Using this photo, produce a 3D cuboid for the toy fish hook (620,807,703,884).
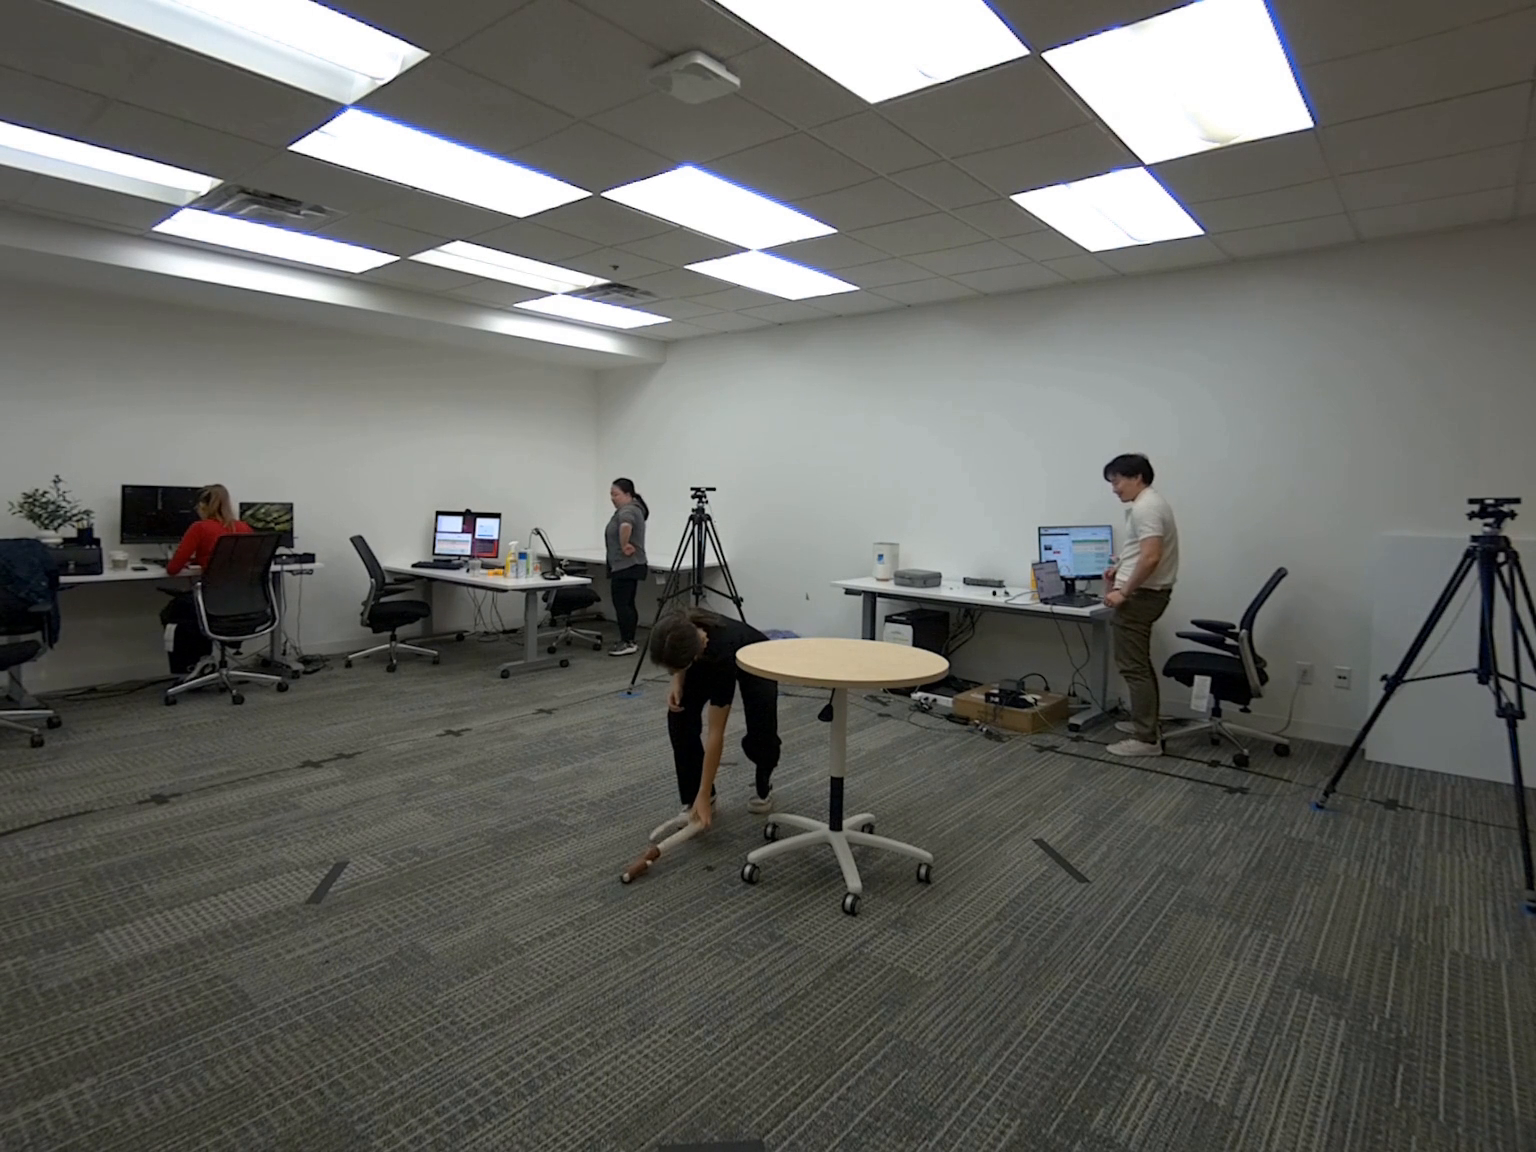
[{"bbox_3d":[-0.429,1.008,3.203,0.229,0.048,0.496,-14,4,34],"label":"toy fish hook"}]
